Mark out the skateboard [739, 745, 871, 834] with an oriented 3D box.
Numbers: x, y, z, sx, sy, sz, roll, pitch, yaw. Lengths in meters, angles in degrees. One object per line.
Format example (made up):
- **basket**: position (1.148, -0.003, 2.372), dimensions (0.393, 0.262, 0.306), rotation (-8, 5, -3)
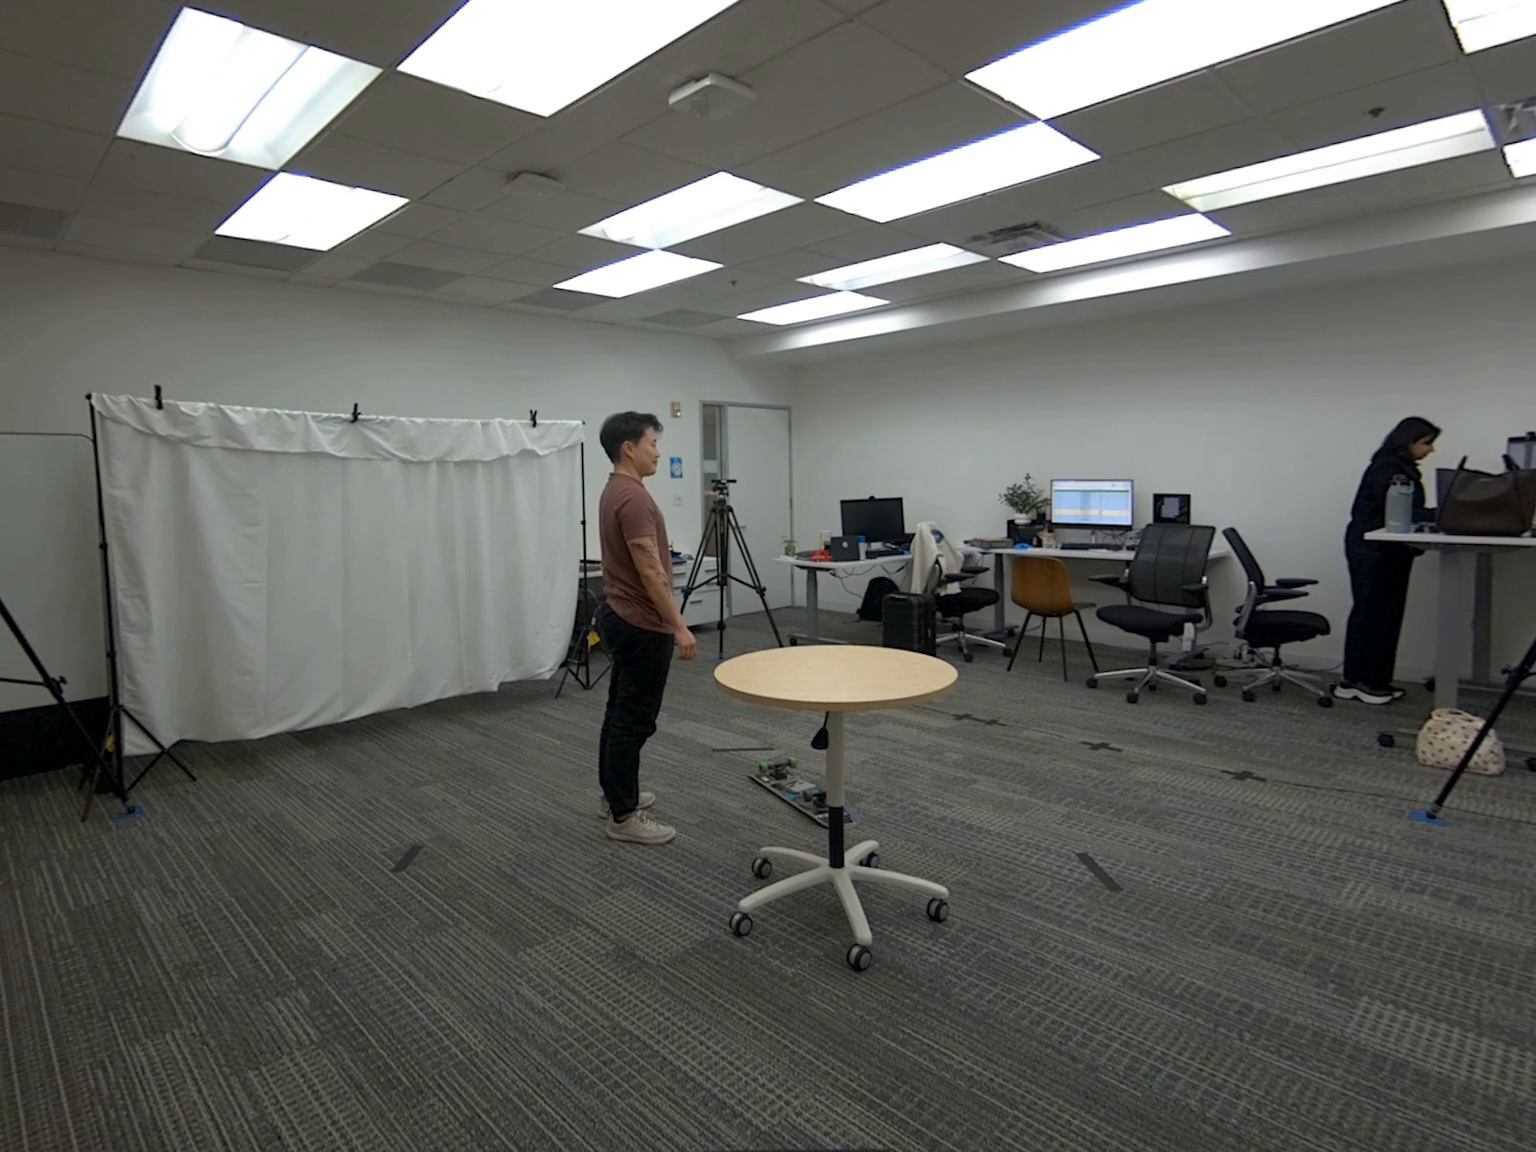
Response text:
- **skateboard**: position (0.136, 0.911, 3.751), dimensions (0.189, 0.110, 0.806), rotation (-4, 7, -27)
